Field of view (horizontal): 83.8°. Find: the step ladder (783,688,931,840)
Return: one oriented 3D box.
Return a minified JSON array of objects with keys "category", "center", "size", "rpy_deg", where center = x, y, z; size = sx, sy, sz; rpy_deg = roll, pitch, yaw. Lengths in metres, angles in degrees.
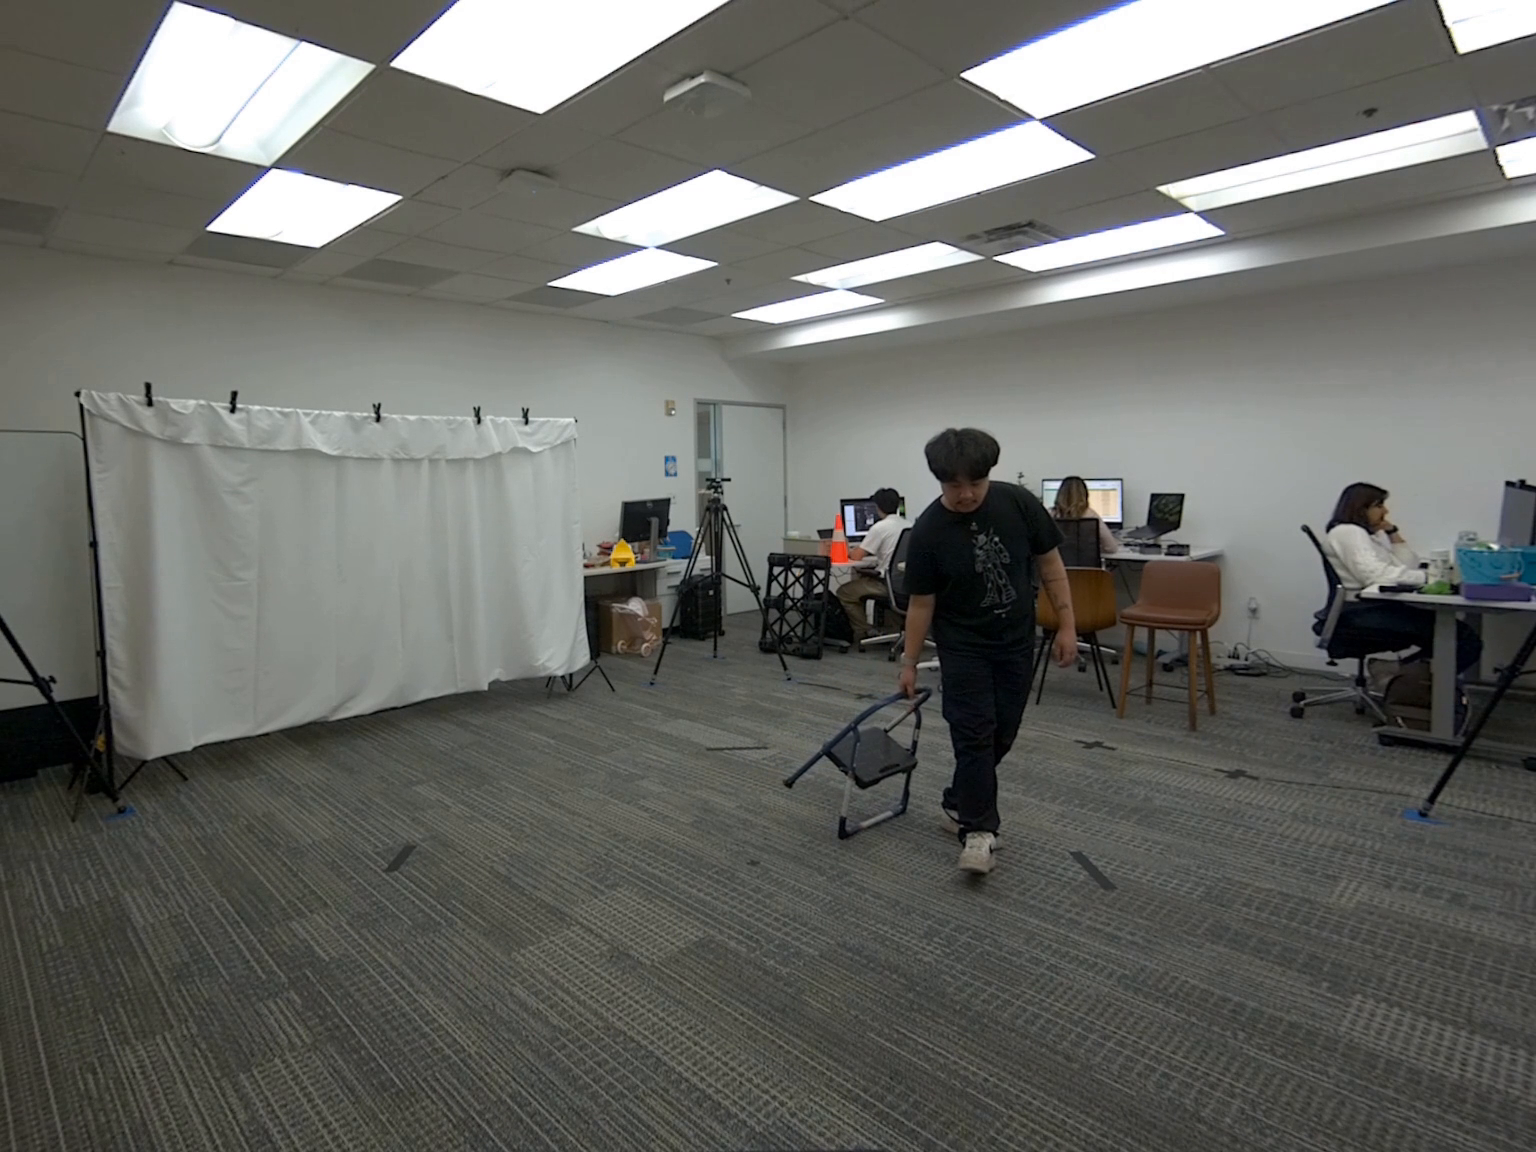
[{"category":"step ladder","center":[0.411,0.660,3.419],"size":[0.419,0.599,0.363],"rpy_deg":[-6,34,-44]}]
